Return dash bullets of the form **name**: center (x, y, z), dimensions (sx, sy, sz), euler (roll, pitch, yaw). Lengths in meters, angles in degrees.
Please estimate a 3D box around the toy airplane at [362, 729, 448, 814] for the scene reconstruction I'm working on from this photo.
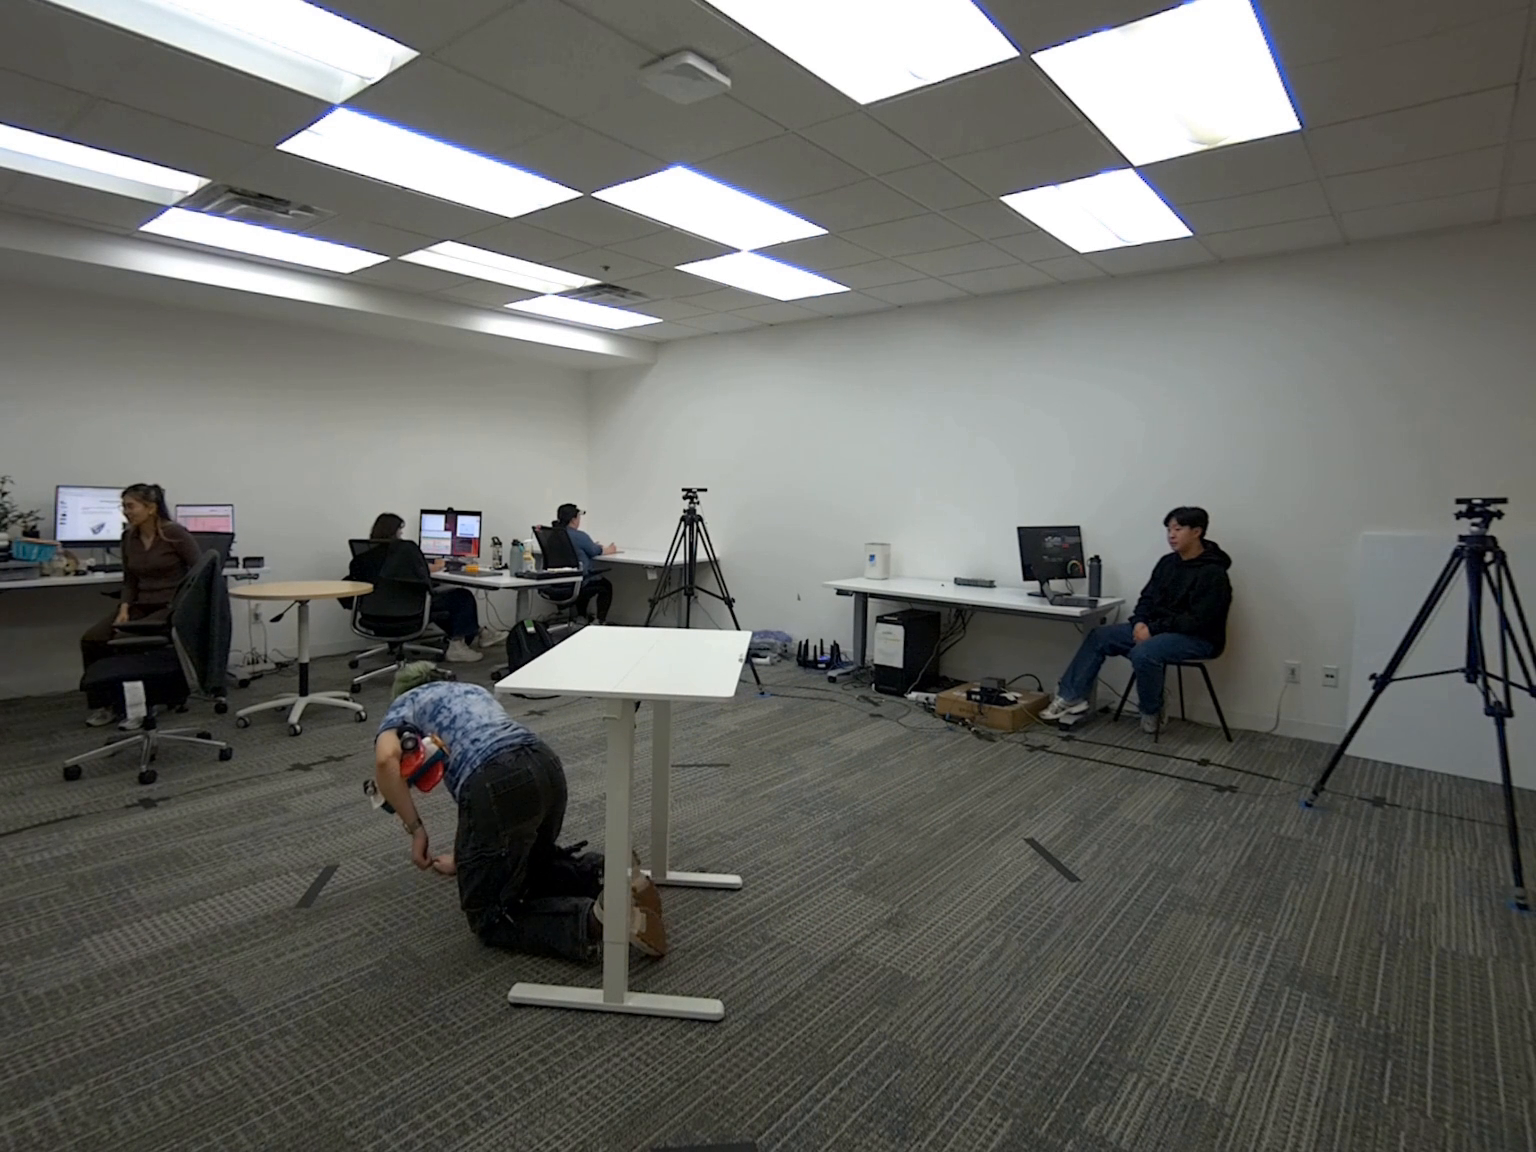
- **toy airplane**: center (-1.124, 0.586, 2.613), dimensions (0.152, 0.260, 0.258), euler (39, 19, -25)
